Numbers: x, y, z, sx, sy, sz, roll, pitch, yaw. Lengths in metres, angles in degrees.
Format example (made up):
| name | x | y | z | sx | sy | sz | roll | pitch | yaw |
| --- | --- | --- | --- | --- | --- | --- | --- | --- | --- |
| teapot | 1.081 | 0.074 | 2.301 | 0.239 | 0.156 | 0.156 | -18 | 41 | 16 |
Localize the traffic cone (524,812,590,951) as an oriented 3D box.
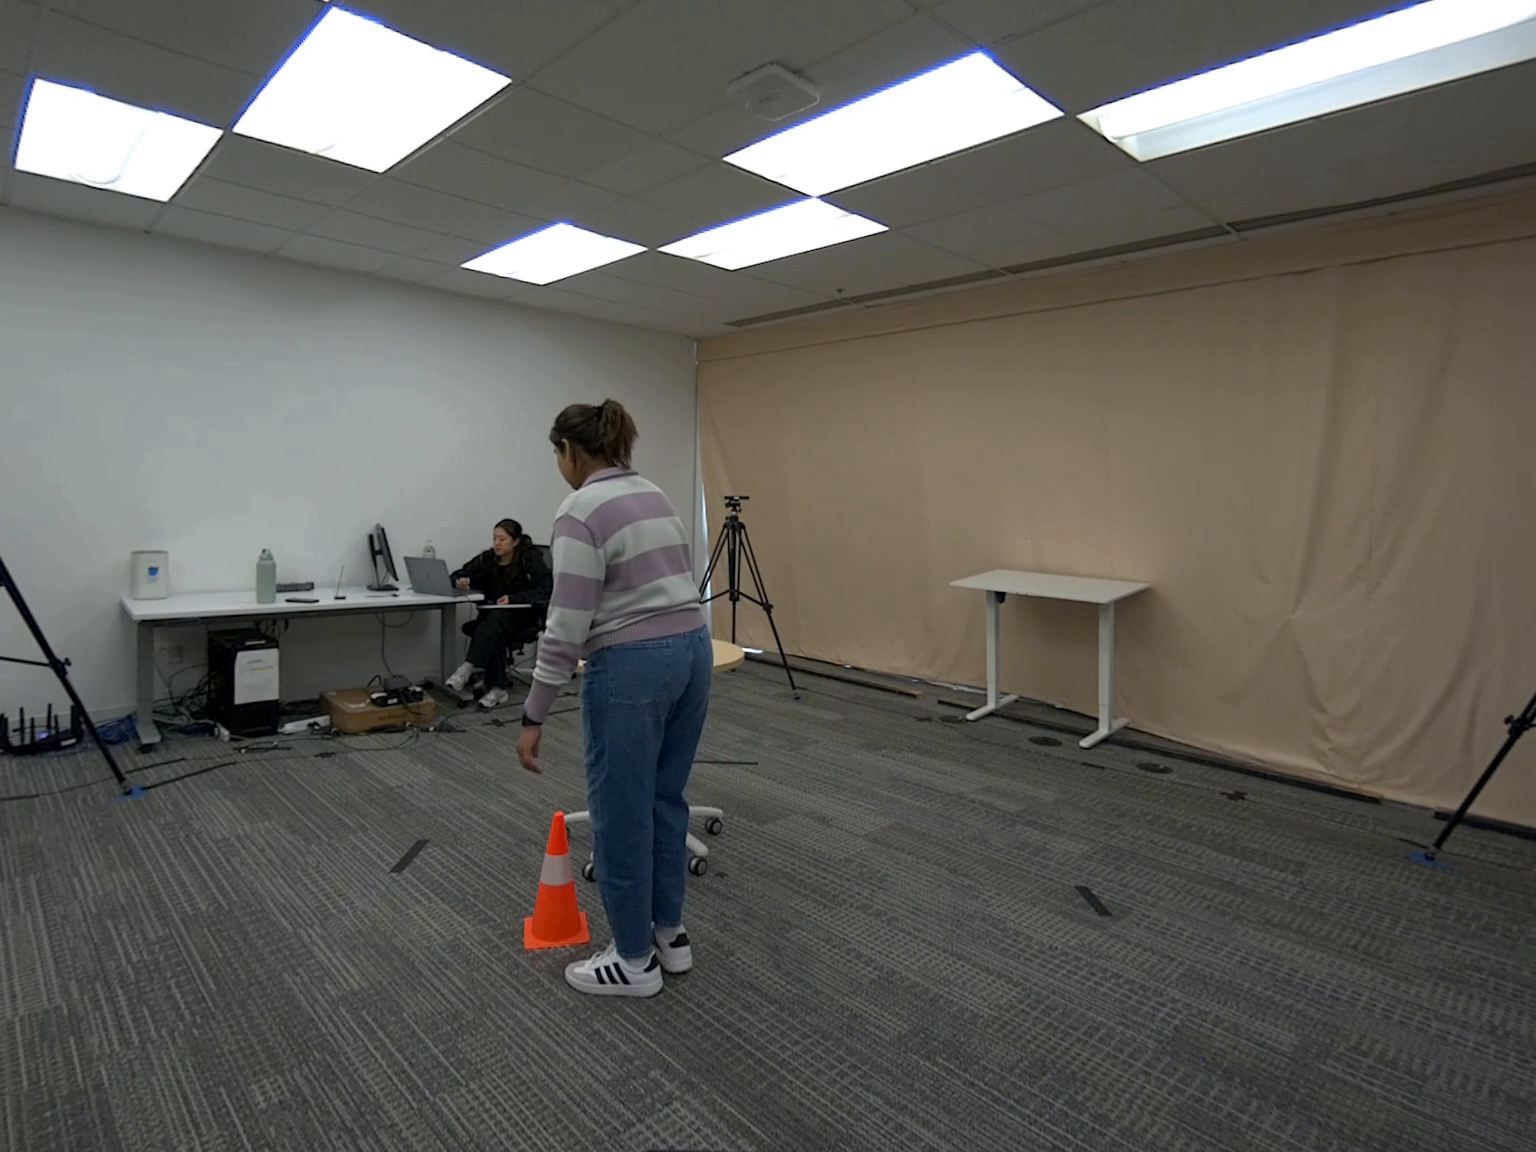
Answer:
| name | x | y | z | sx | sy | sz | roll | pitch | yaw |
| --- | --- | --- | --- | --- | --- | --- | --- | --- | --- |
| traffic cone | -0.685 | 0.950 | 2.675 | 0.202 | 0.383 | 0.206 | 0 | 1 | -16 |
